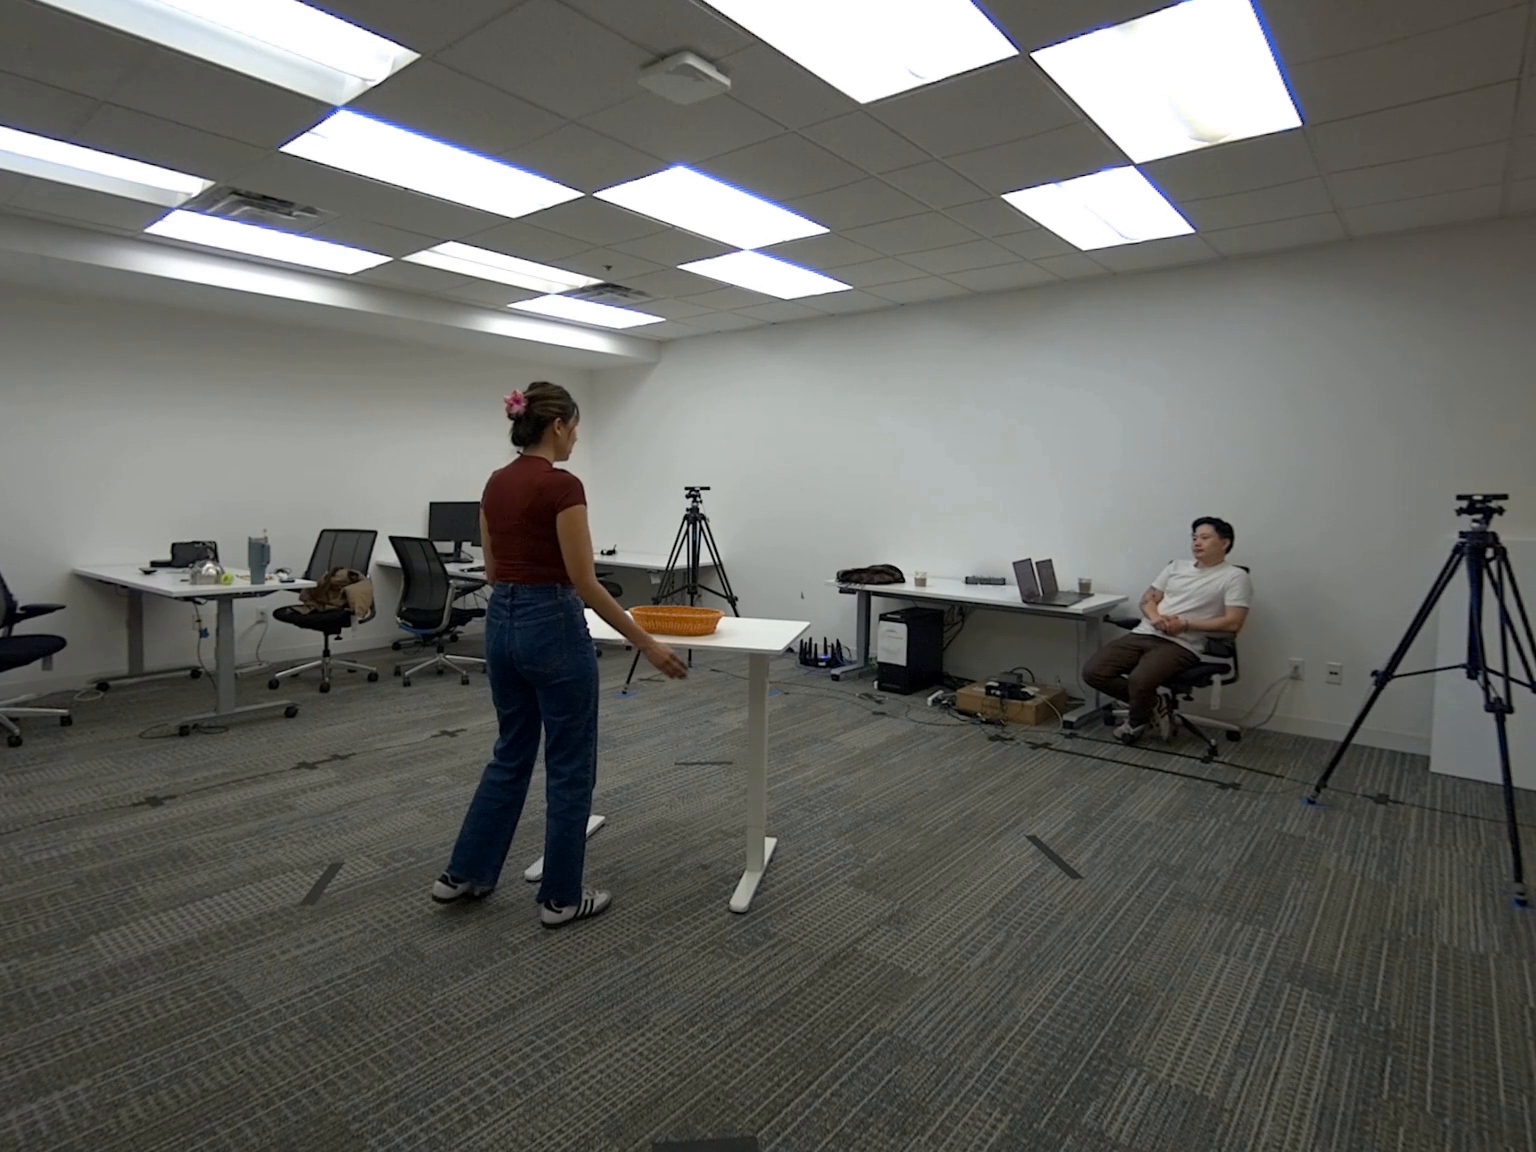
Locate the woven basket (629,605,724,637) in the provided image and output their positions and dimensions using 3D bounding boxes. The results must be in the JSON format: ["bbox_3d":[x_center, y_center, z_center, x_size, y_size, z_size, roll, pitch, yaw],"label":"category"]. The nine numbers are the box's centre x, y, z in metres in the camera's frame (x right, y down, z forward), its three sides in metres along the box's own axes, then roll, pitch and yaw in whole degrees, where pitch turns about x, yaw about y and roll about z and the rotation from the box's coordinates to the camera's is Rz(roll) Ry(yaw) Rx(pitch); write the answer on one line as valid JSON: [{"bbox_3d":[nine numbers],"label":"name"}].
[{"bbox_3d":[-0.345,0.162,3.012,0.358,0.073,0.248,3,4,19],"label":"woven basket"}]
